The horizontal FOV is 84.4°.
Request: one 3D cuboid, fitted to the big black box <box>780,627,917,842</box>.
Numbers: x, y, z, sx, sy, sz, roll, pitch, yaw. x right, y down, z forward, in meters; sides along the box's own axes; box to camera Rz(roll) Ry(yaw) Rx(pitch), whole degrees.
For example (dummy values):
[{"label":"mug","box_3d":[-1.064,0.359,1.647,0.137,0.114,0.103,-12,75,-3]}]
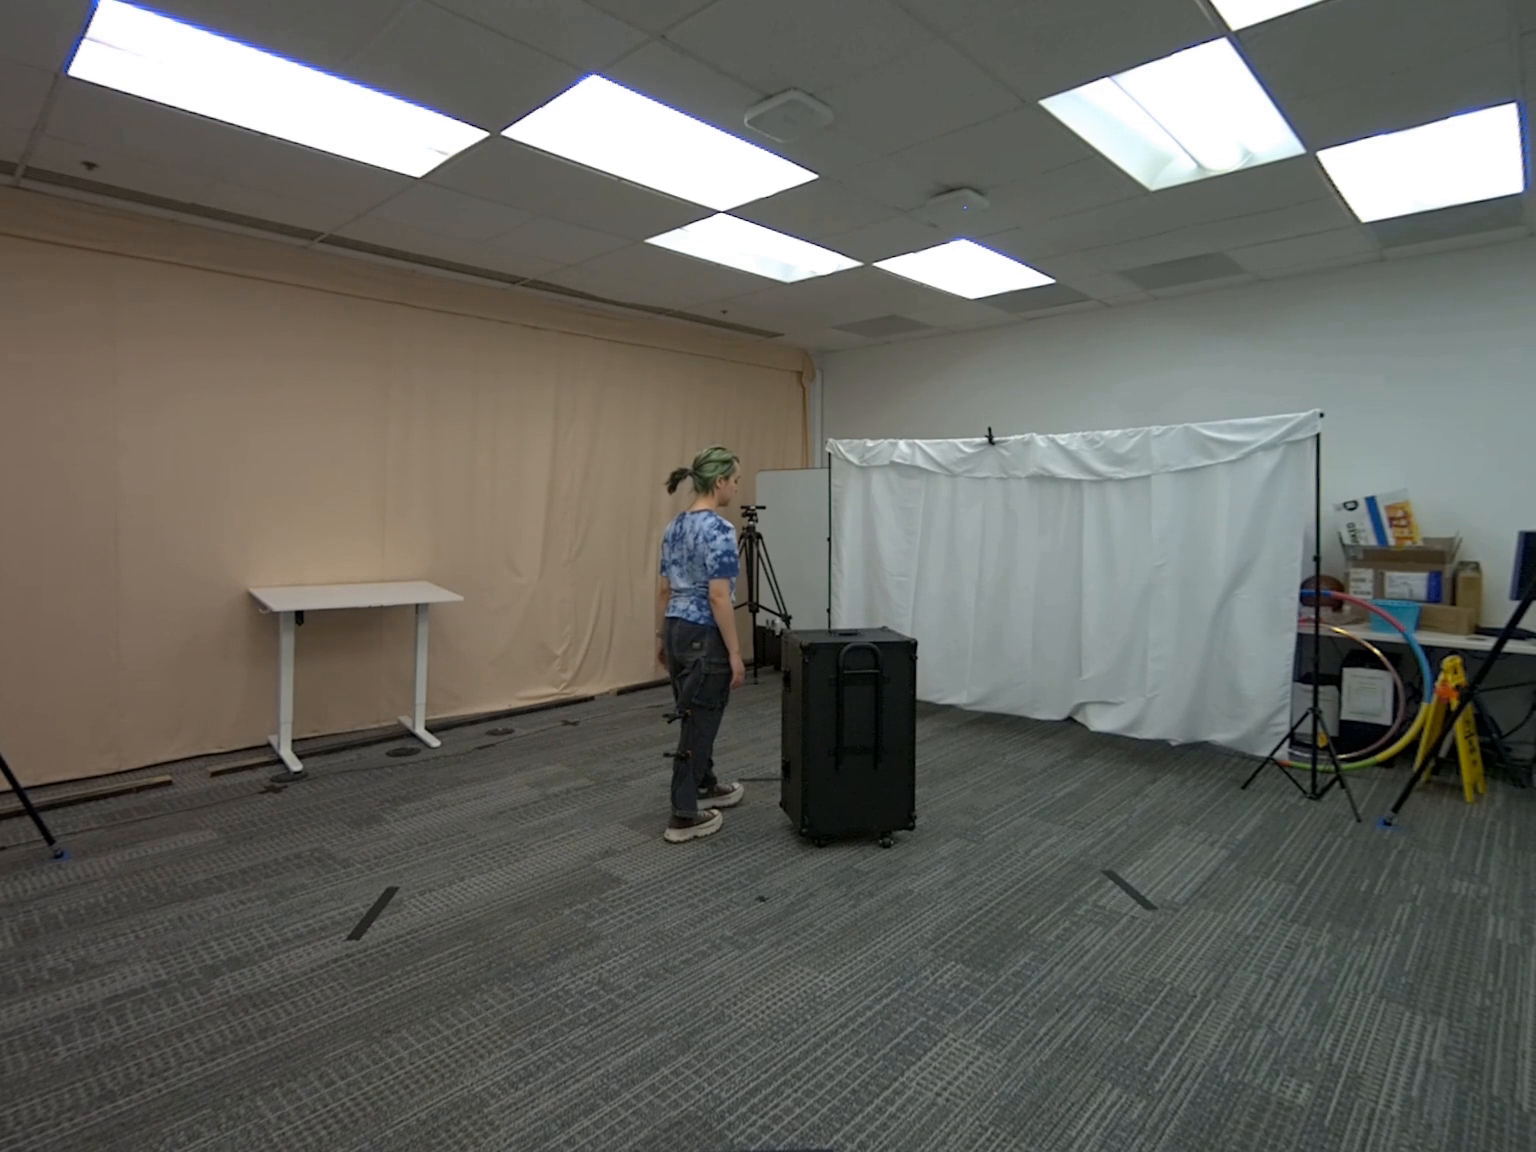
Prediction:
[{"label":"big black box","box_3d":[0.335,0.675,3.543,0.516,0.859,0.401,0,4,-10]}]
